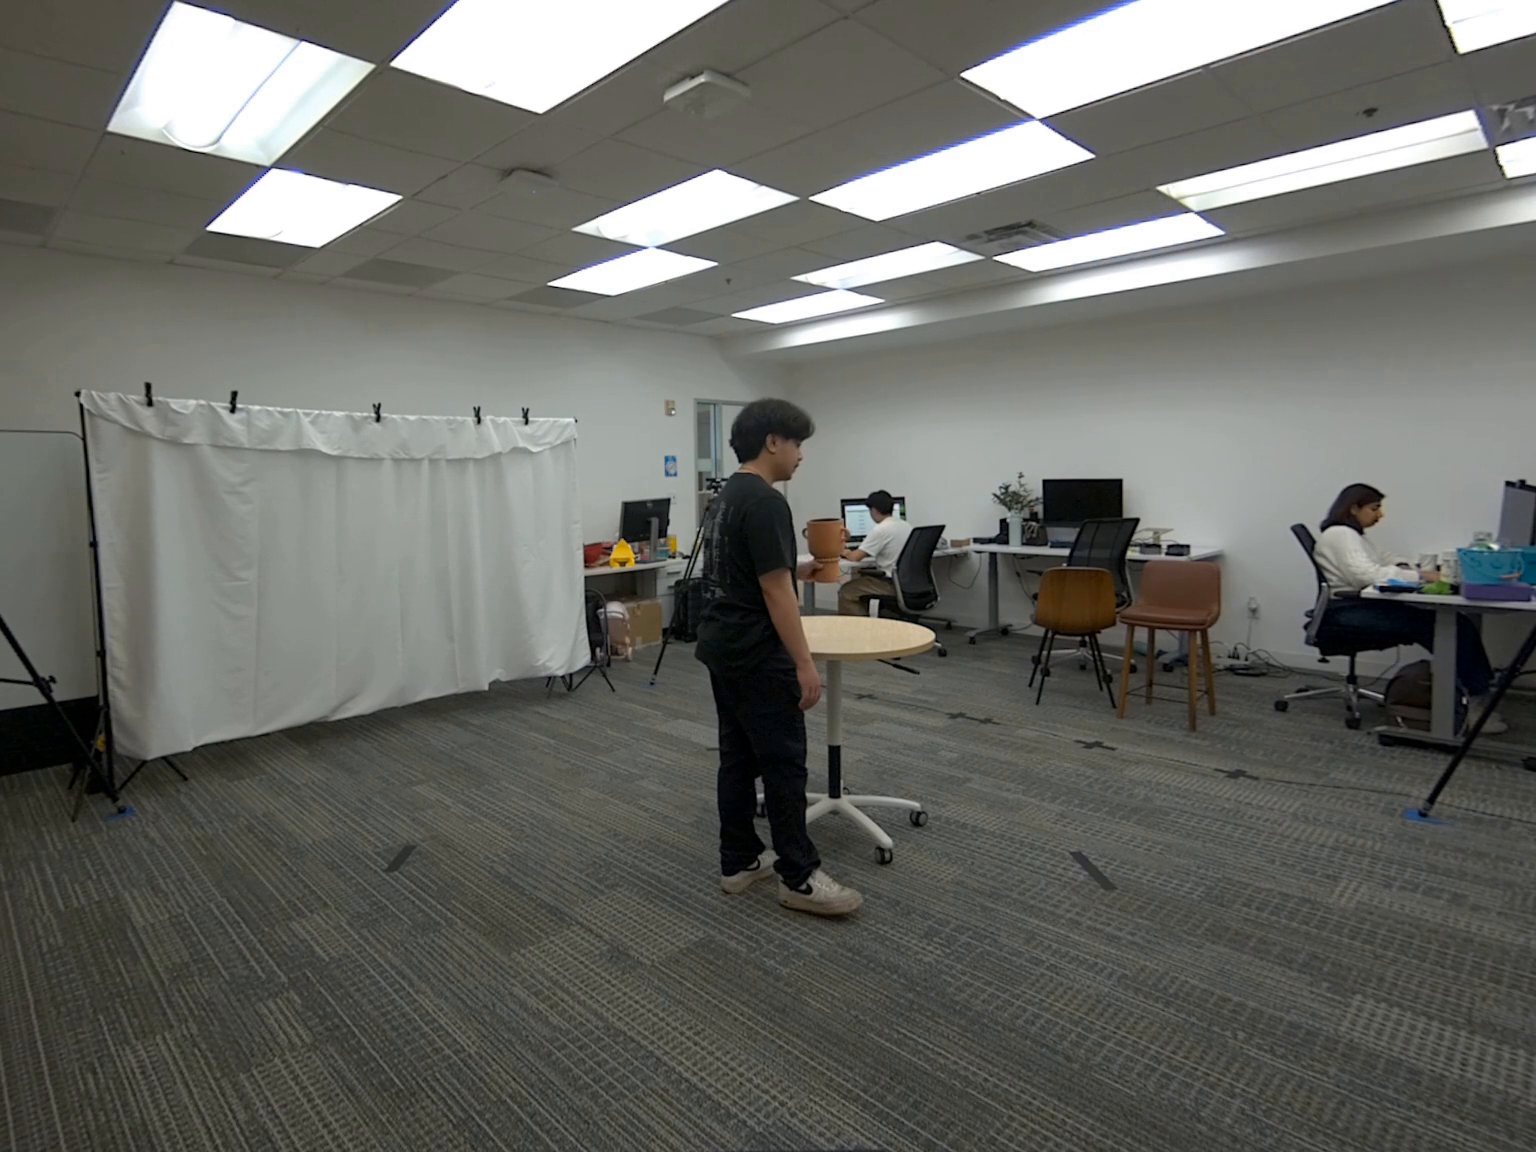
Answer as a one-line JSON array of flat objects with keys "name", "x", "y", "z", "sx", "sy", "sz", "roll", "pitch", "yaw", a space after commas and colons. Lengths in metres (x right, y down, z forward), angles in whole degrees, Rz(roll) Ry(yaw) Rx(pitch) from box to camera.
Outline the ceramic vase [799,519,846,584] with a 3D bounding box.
[{"name": "ceramic vase", "x": 0.213, "y": -0.090, "z": 3.053, "sx": 0.133, "sy": 0.218, "sz": 0.162, "roll": -5, "pitch": 8, "yaw": -13}]
